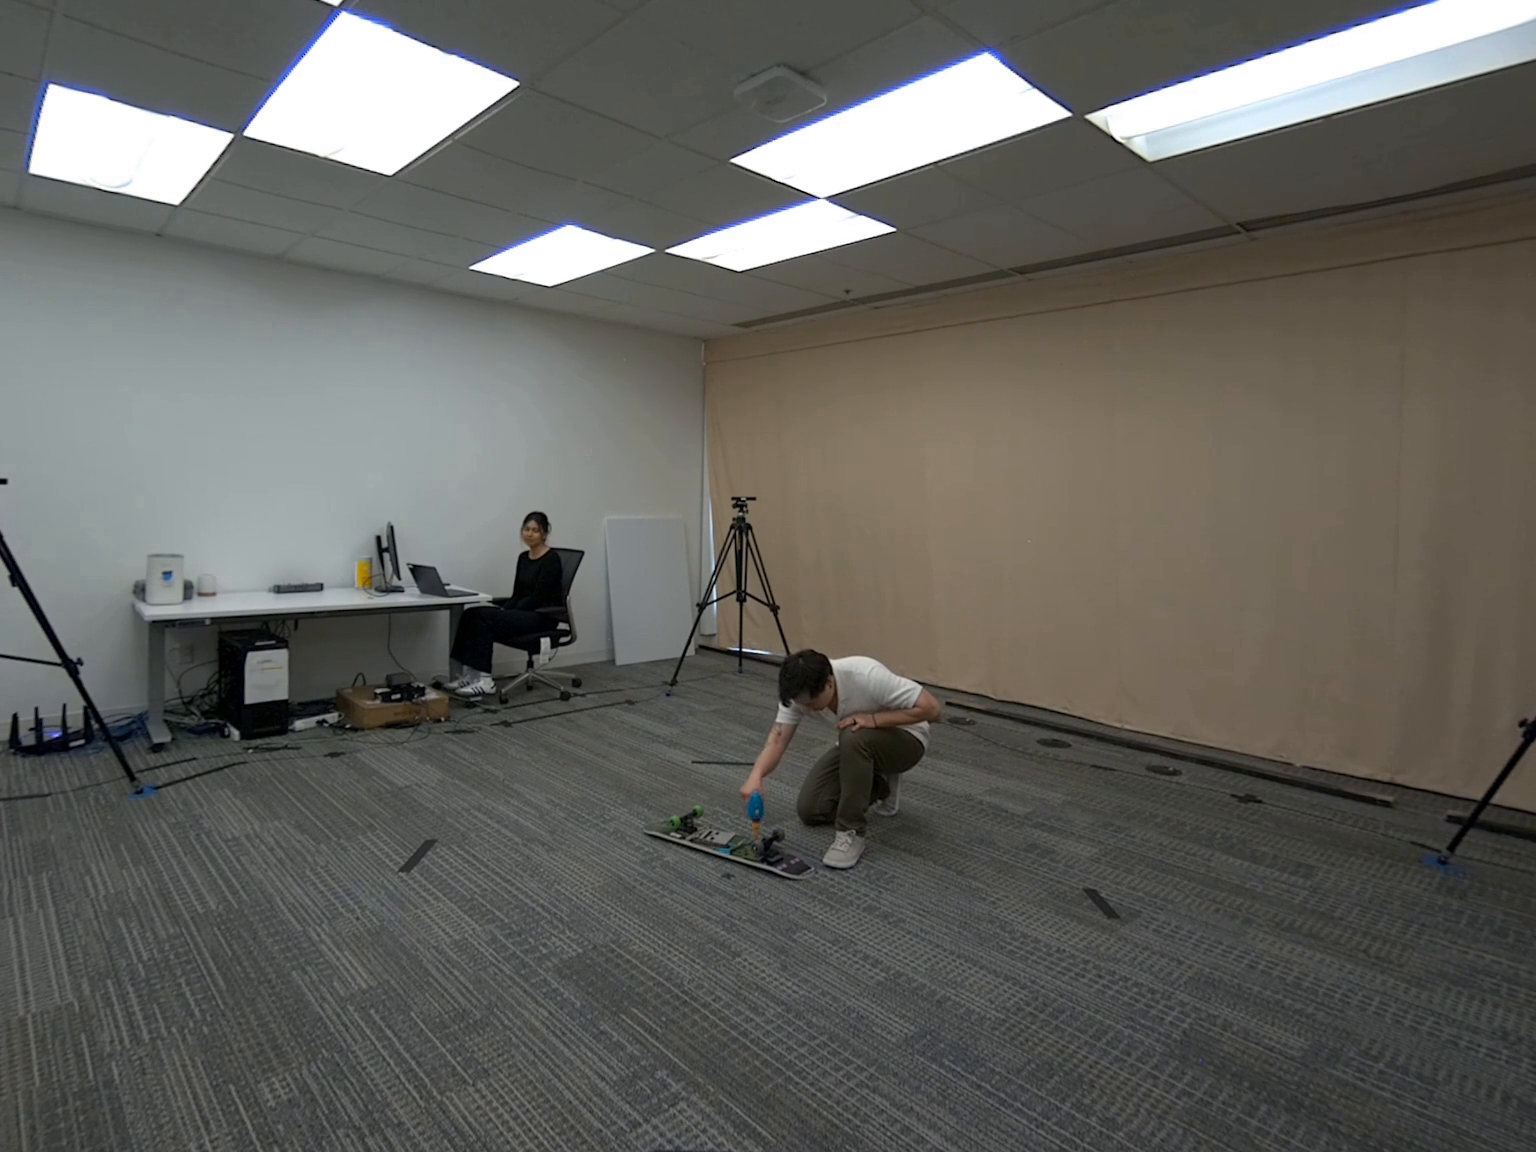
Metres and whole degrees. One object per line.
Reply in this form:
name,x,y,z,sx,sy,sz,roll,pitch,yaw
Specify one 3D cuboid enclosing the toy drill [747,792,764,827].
toy drill,-0.054,0.910,3.240,0.061,0.169,0.146,-8,4,-3
